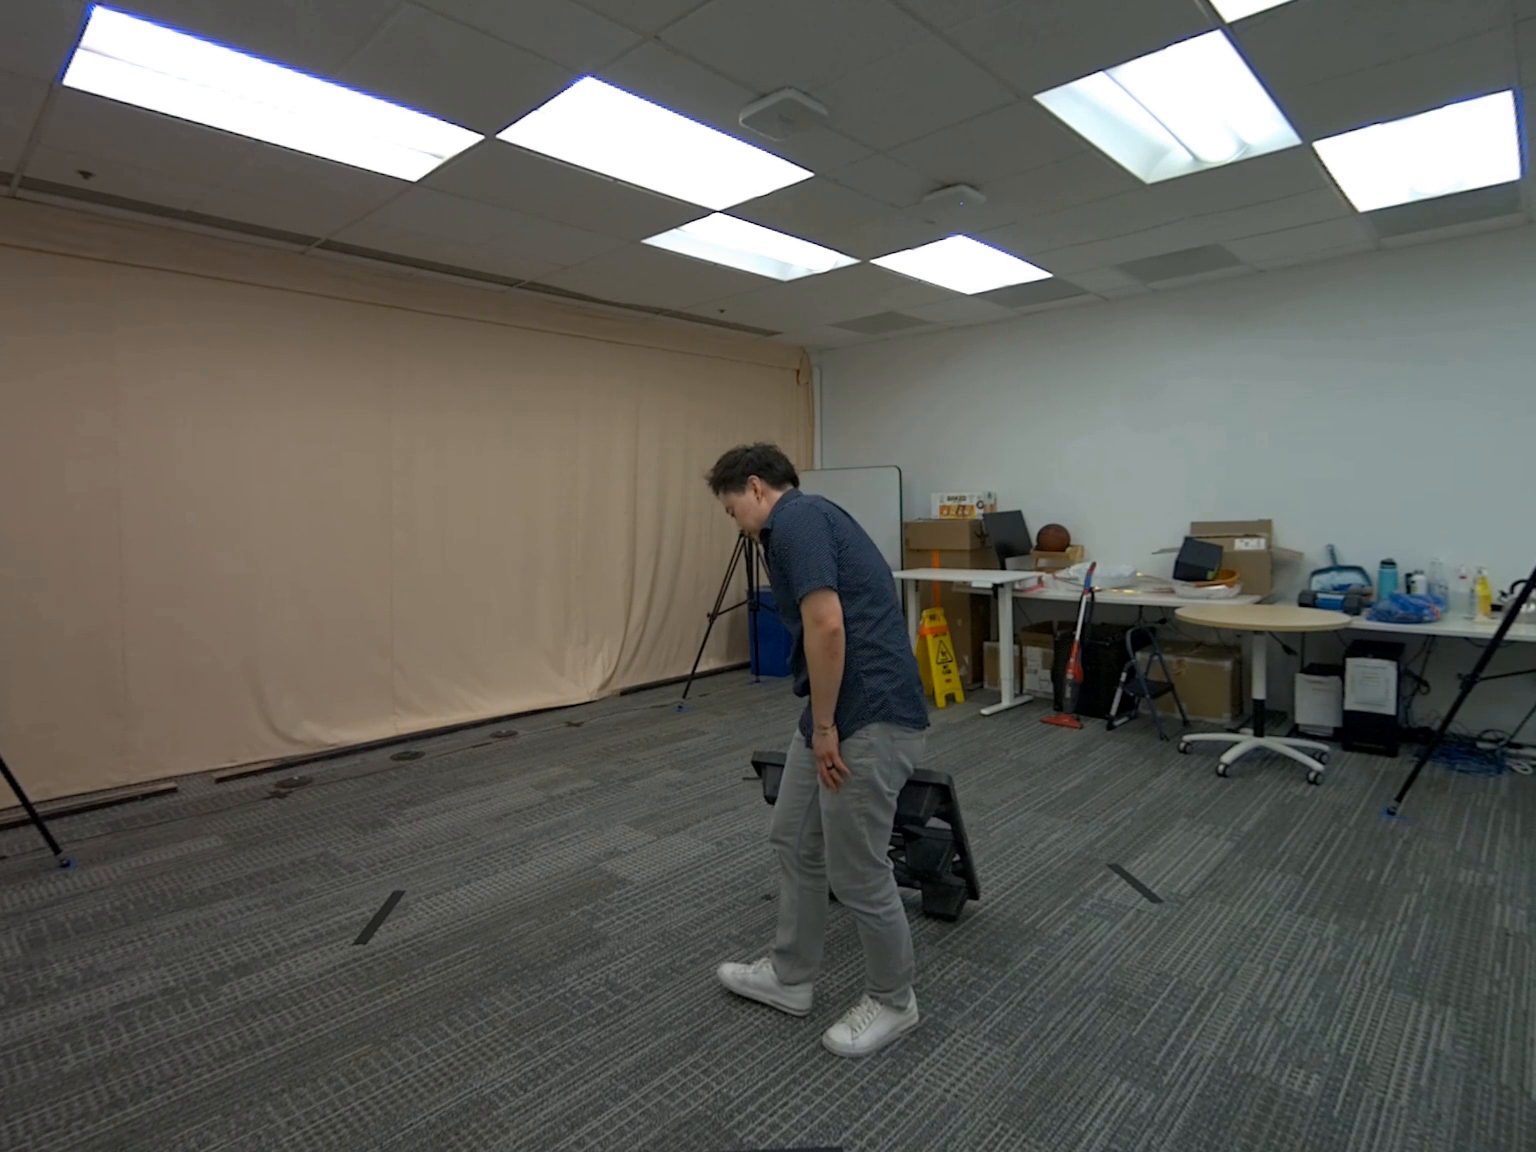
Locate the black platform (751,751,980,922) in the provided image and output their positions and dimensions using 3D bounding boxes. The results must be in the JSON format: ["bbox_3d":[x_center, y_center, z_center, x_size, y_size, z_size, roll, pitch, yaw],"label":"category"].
[{"bbox_3d":[0.328,0.856,2.678,0.620,0.782,0.144,2,47,24],"label":"black platform"}]
